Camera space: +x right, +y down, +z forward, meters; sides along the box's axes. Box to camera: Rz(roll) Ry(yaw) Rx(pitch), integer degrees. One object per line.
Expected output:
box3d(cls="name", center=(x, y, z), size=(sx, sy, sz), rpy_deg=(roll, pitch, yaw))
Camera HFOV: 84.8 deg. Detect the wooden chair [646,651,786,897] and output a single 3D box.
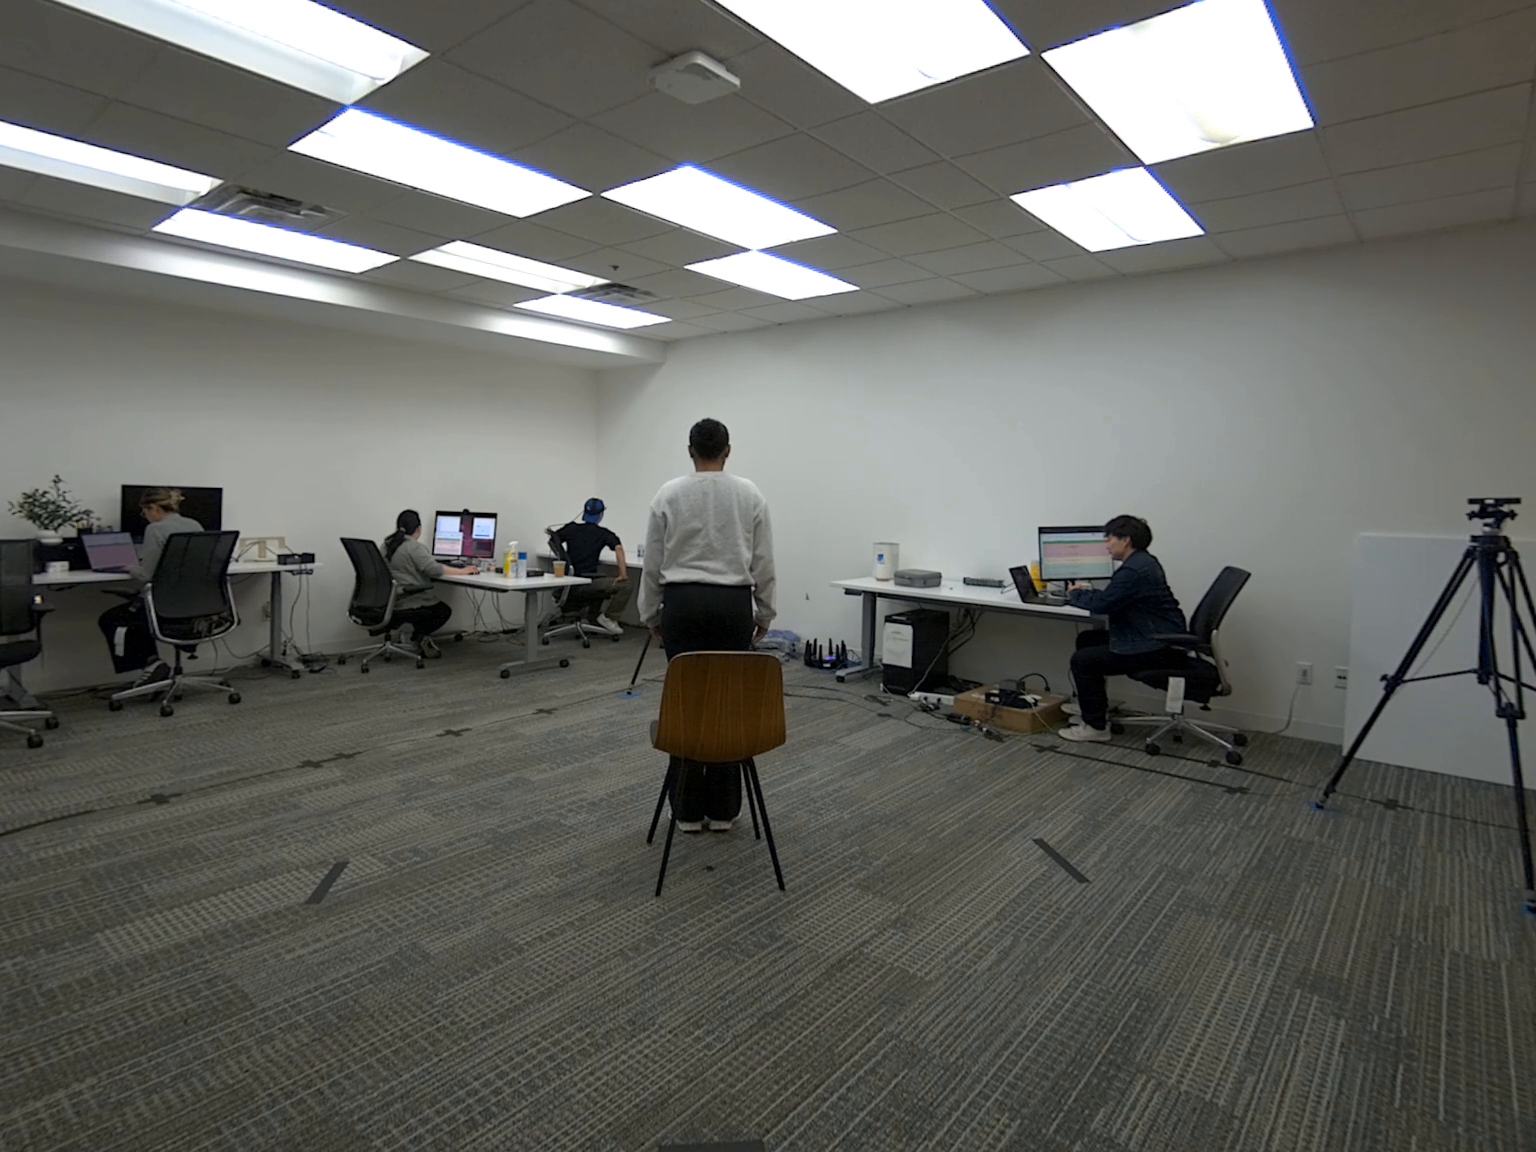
box3d(cls="wooden chair", center=(-0.211, 0.635, 3.112), size=(0.473, 0.872, 0.532), rpy_deg=(0, 7, -11))
